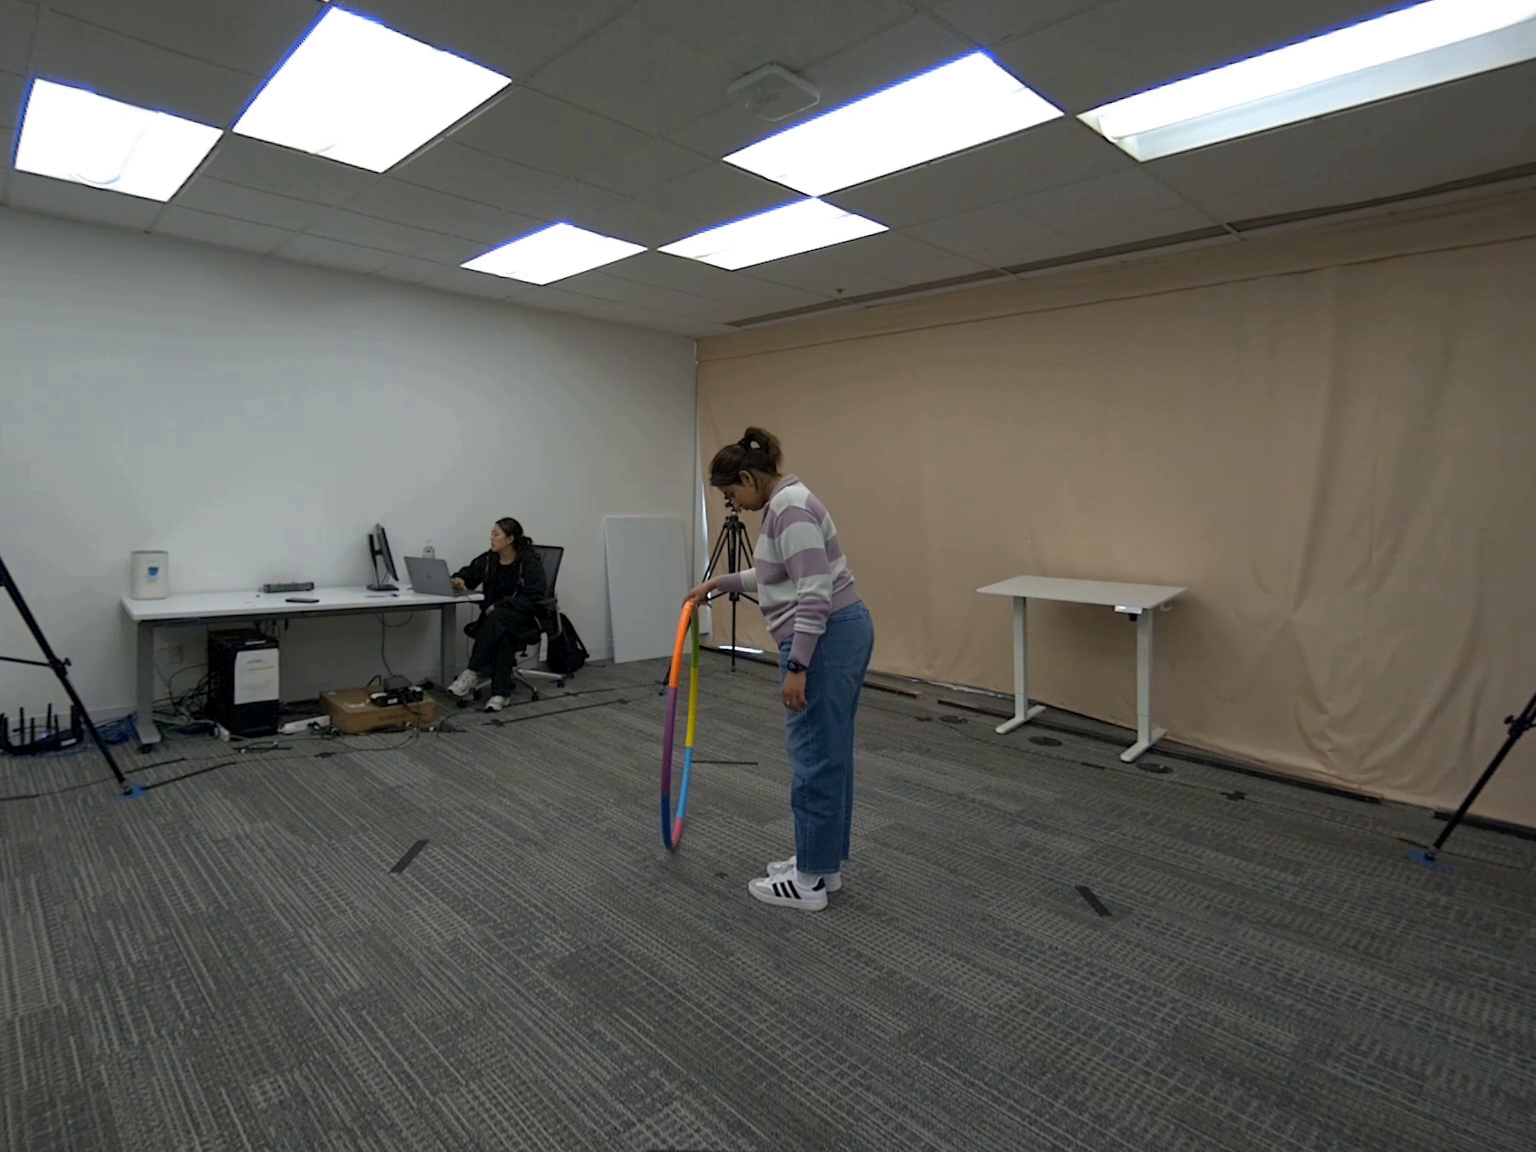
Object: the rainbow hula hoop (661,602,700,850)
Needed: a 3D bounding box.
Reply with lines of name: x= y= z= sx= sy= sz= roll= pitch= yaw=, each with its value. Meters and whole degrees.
rainbow hula hoop: x=-0.350 y=0.585 z=3.392 sx=0.035 sy=0.976 sz=0.979 roll=5 pitch=4 yaw=0
